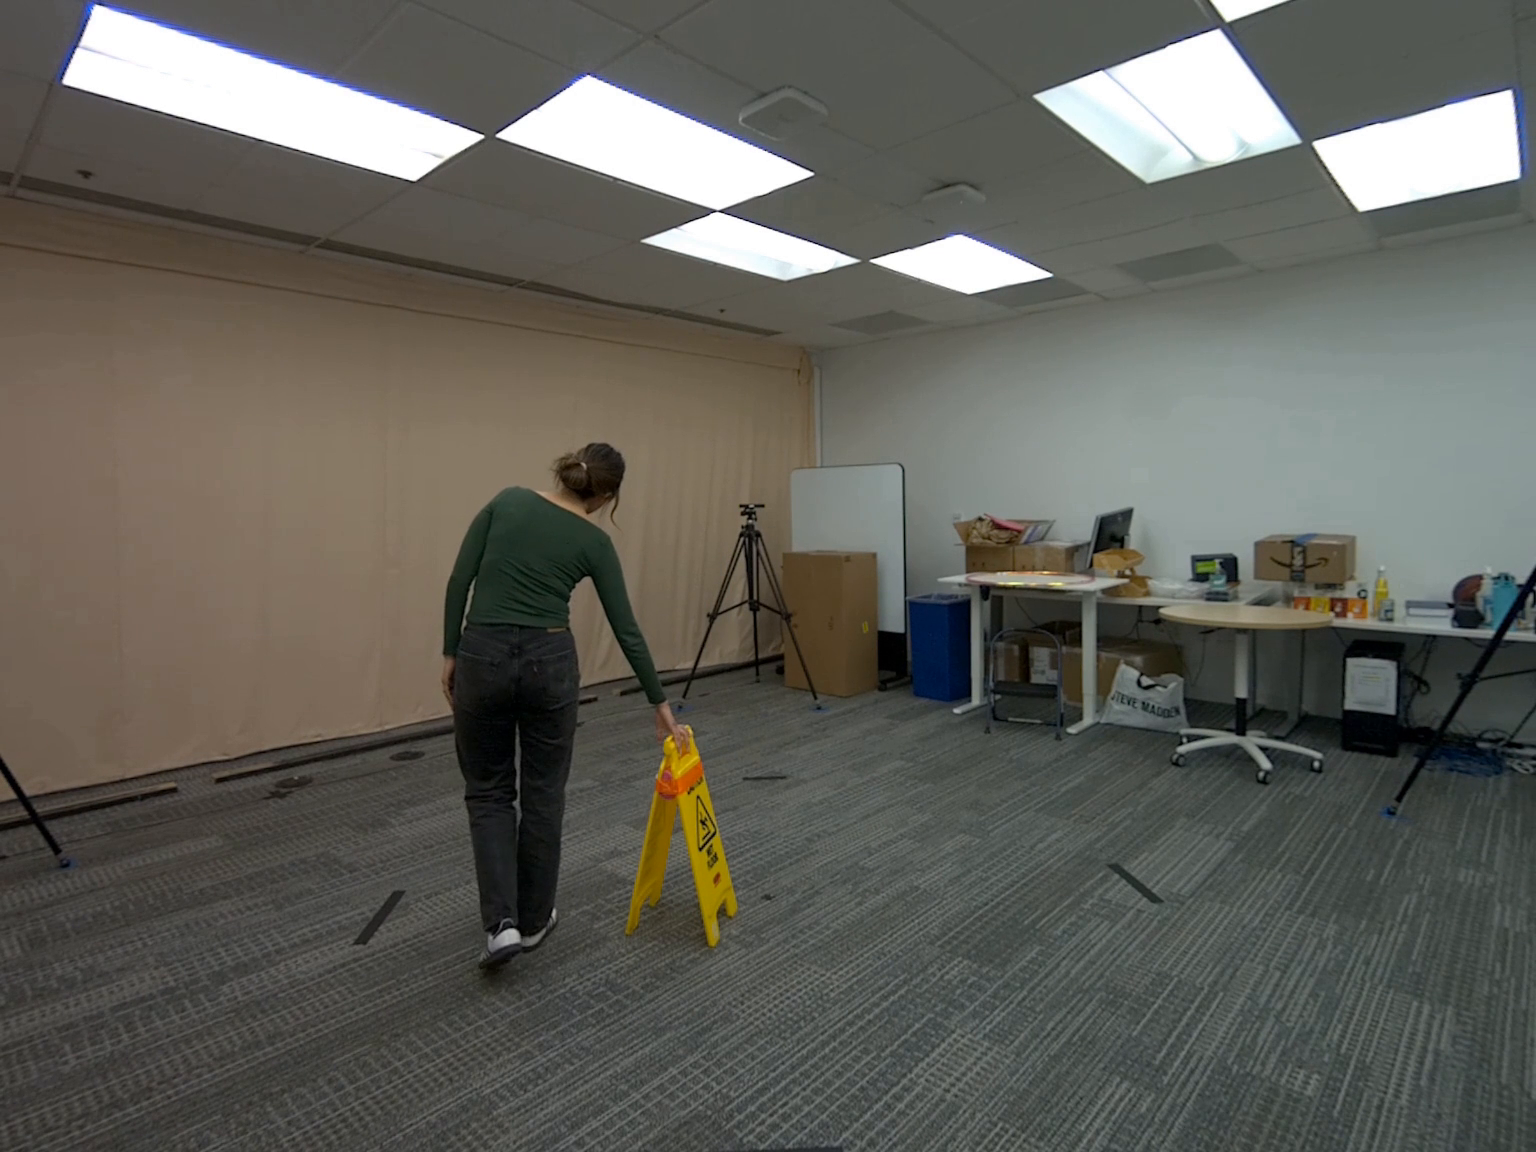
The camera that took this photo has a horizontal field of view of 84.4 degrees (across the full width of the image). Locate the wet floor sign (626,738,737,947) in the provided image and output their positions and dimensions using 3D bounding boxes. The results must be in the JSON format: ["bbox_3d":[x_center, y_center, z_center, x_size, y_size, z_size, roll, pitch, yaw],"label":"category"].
[{"bbox_3d":[-0.287,0.839,2.803,0.295,0.644,0.278,1,5,17],"label":"wet floor sign"}]
